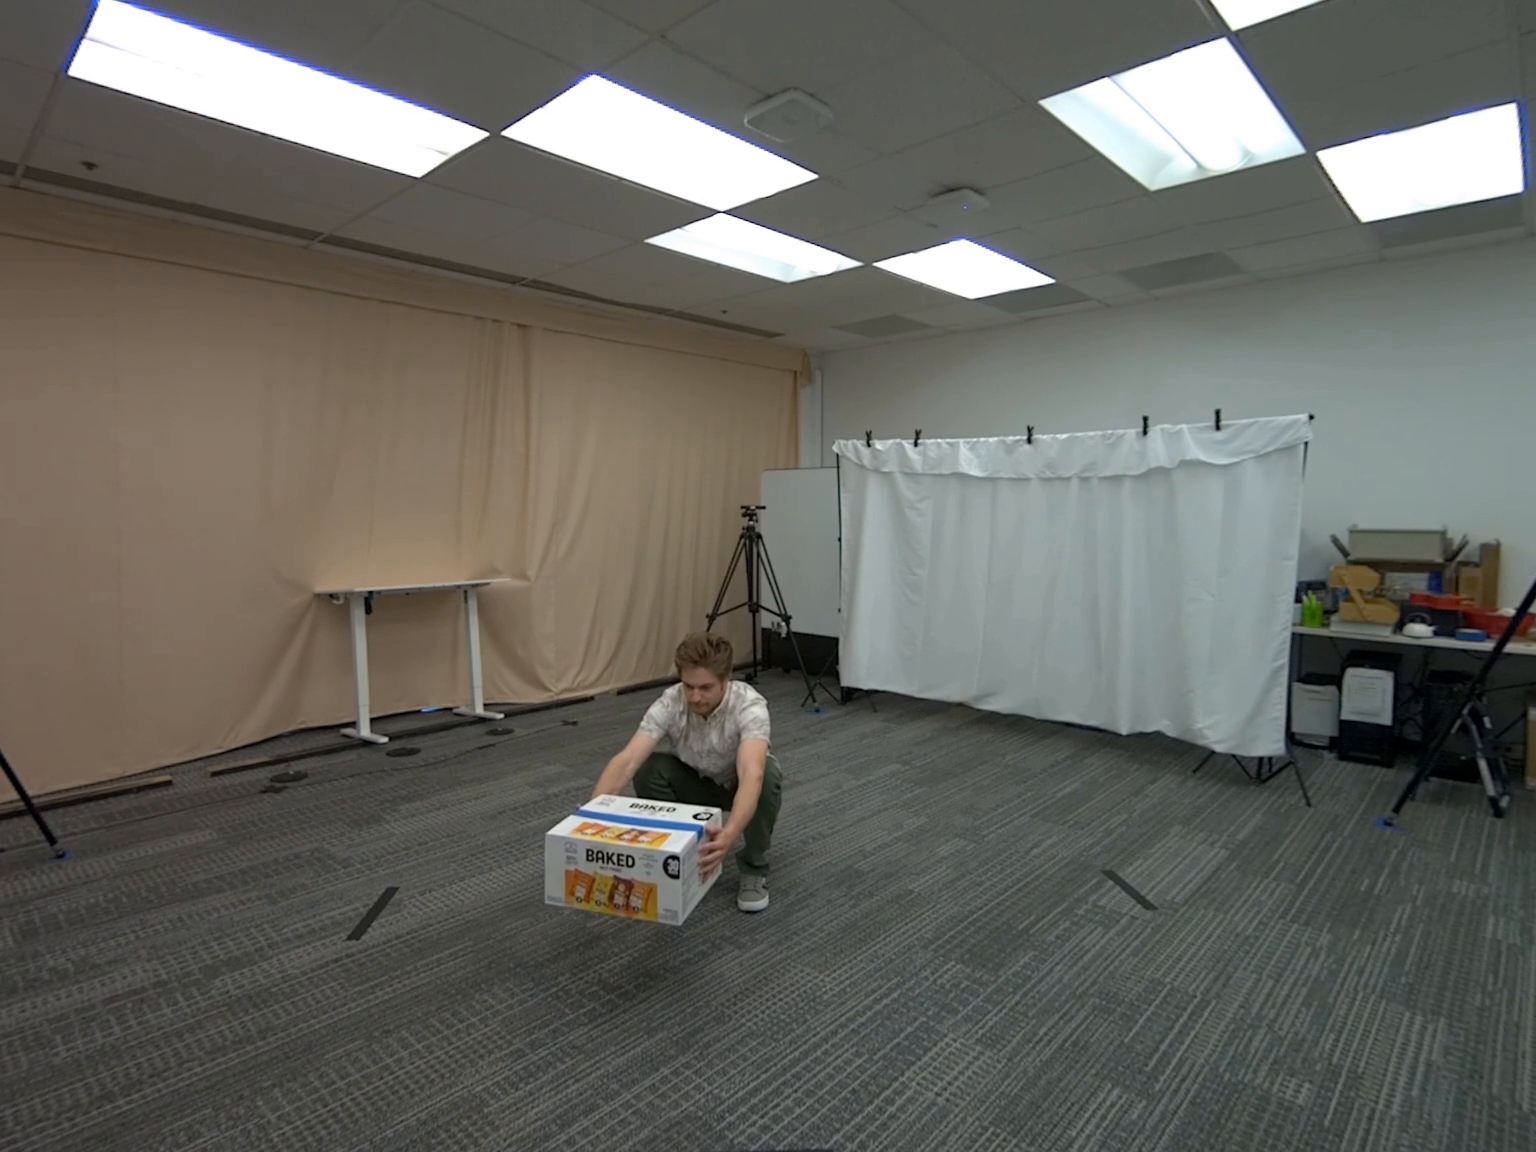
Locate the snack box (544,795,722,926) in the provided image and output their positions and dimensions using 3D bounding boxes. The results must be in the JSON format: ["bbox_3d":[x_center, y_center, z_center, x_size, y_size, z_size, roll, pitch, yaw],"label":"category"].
[{"bbox_3d":[-0.375,0.799,2.430,0.413,0.205,0.335,2,5,17],"label":"snack box"}]
